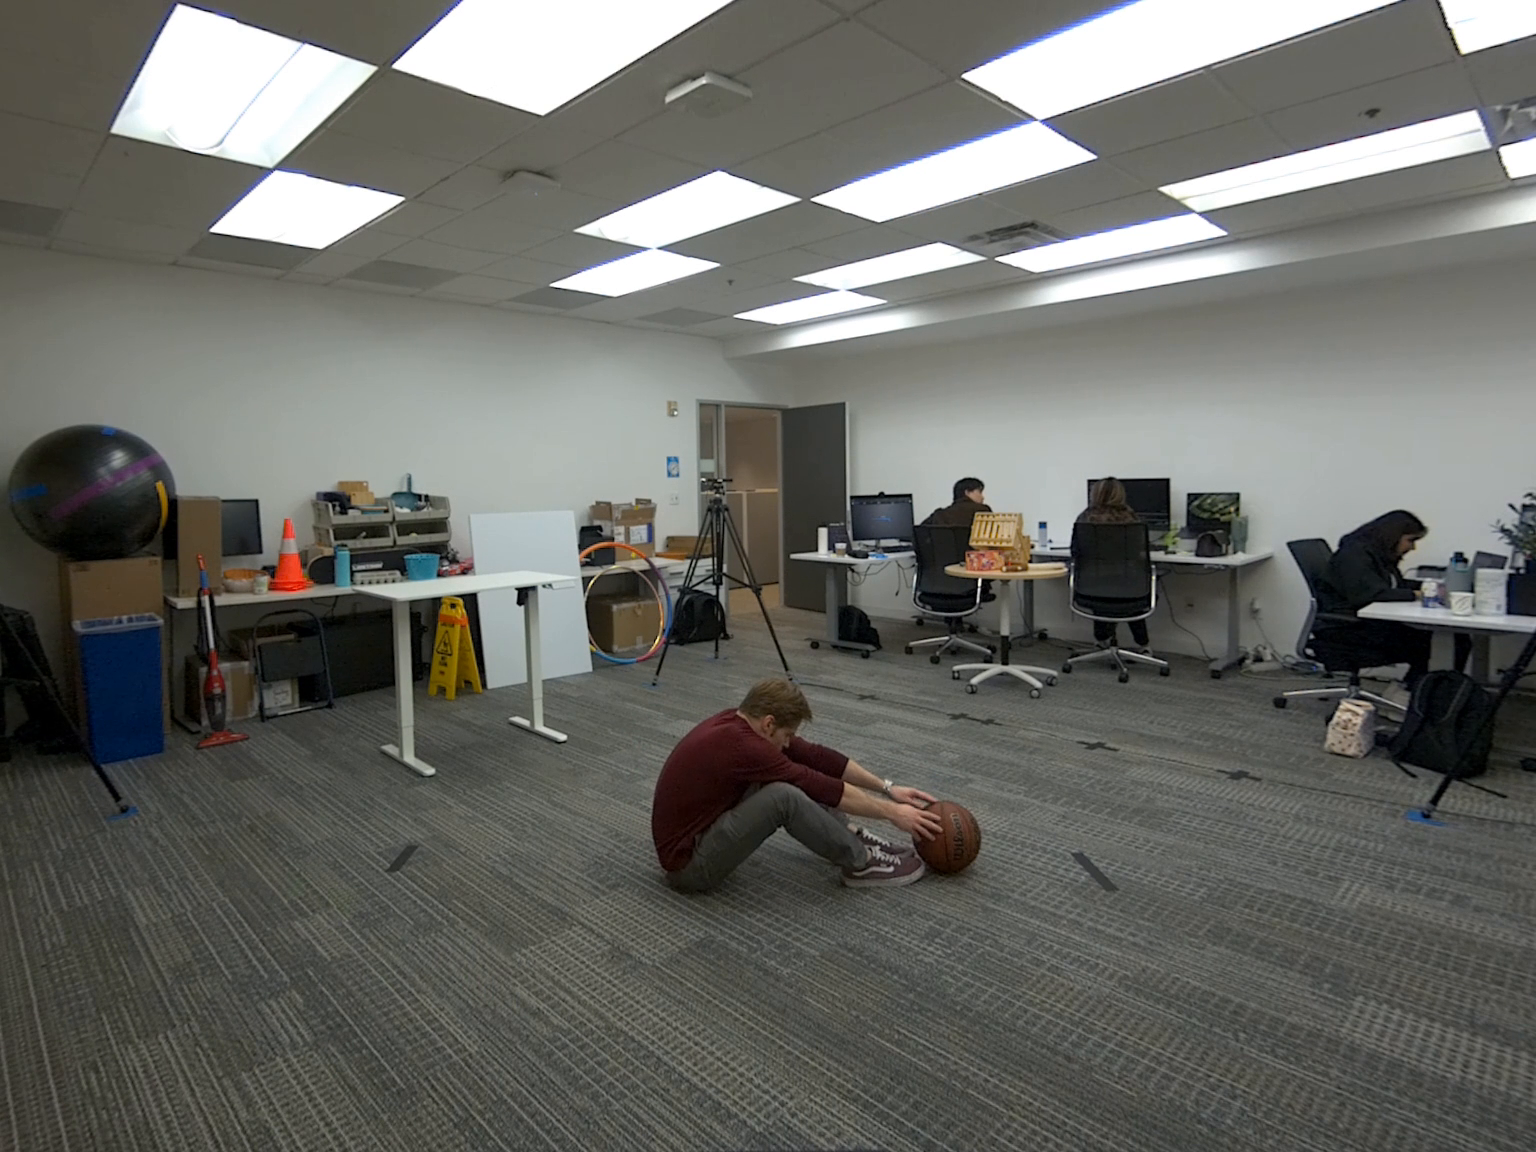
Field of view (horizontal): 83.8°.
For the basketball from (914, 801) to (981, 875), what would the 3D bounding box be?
[{"bbox_3d":[0.632,0.917,3.028,0.236,0.235,0.237,-1,5,-2],"label":"basketball"}]
